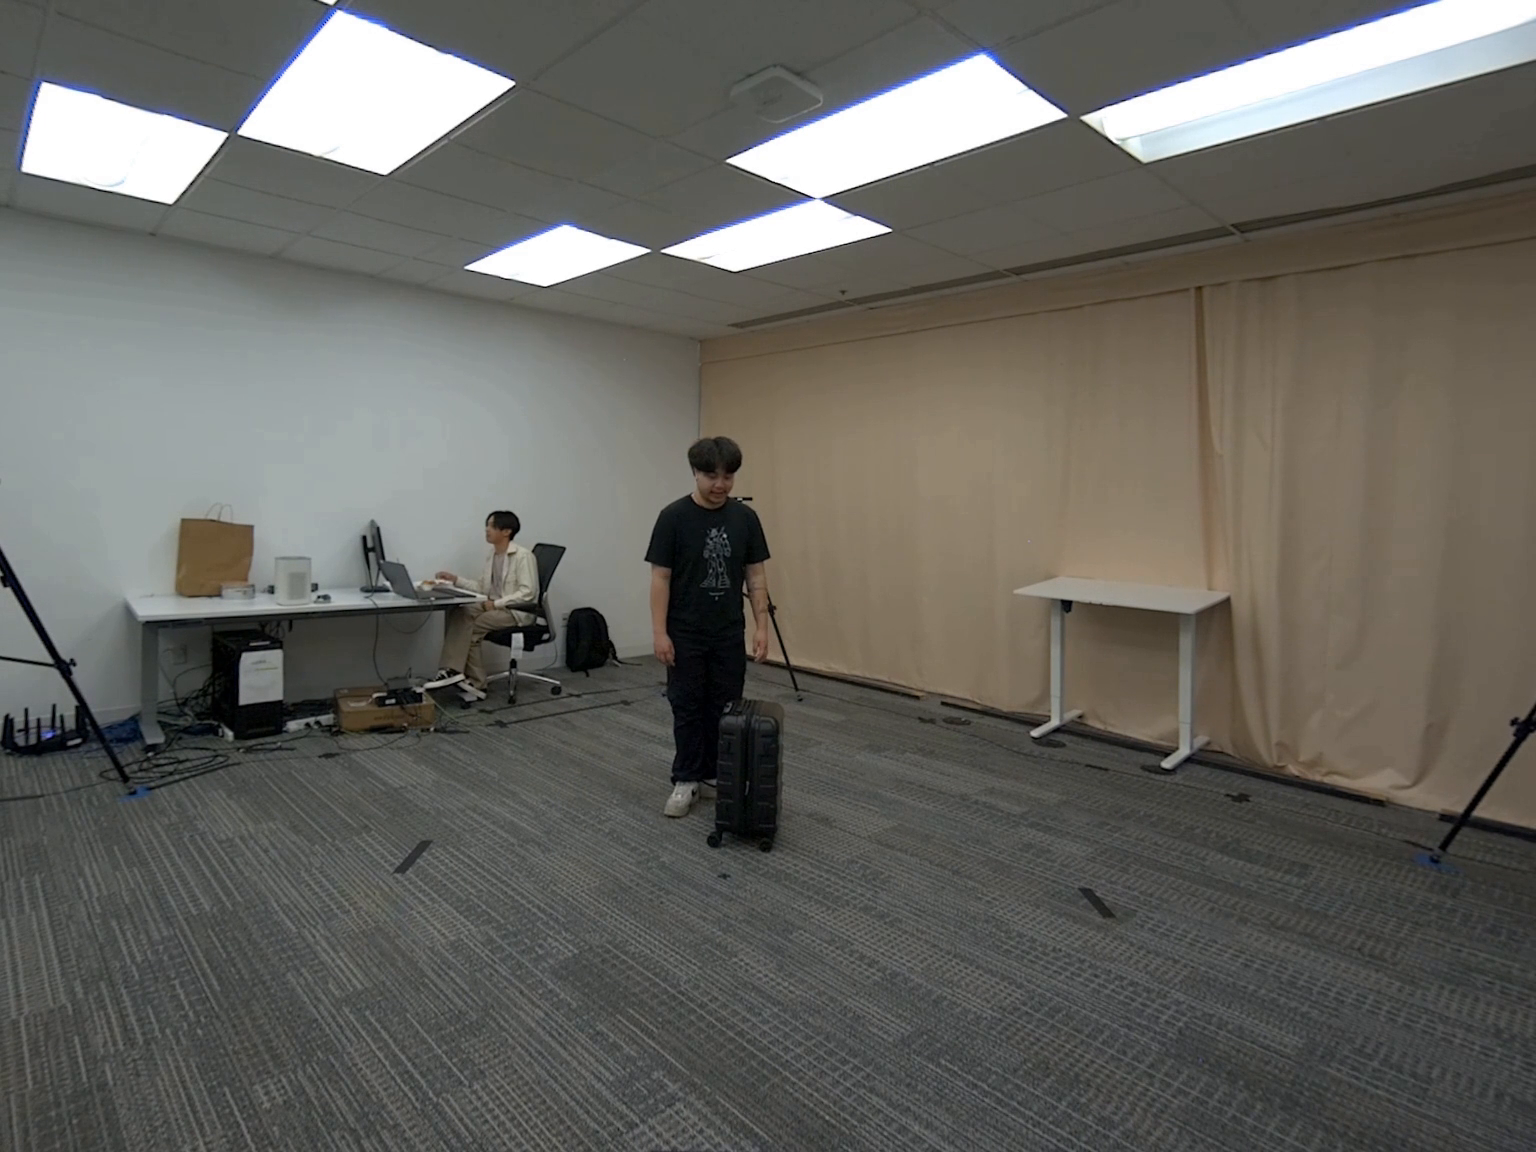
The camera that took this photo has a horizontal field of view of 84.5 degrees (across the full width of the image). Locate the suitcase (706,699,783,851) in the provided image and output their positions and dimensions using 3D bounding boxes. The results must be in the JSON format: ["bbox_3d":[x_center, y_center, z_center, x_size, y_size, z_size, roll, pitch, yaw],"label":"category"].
[{"bbox_3d":[-0.083,0.799,3.492,0.249,0.548,0.374,4,4,4],"label":"suitcase"}]
